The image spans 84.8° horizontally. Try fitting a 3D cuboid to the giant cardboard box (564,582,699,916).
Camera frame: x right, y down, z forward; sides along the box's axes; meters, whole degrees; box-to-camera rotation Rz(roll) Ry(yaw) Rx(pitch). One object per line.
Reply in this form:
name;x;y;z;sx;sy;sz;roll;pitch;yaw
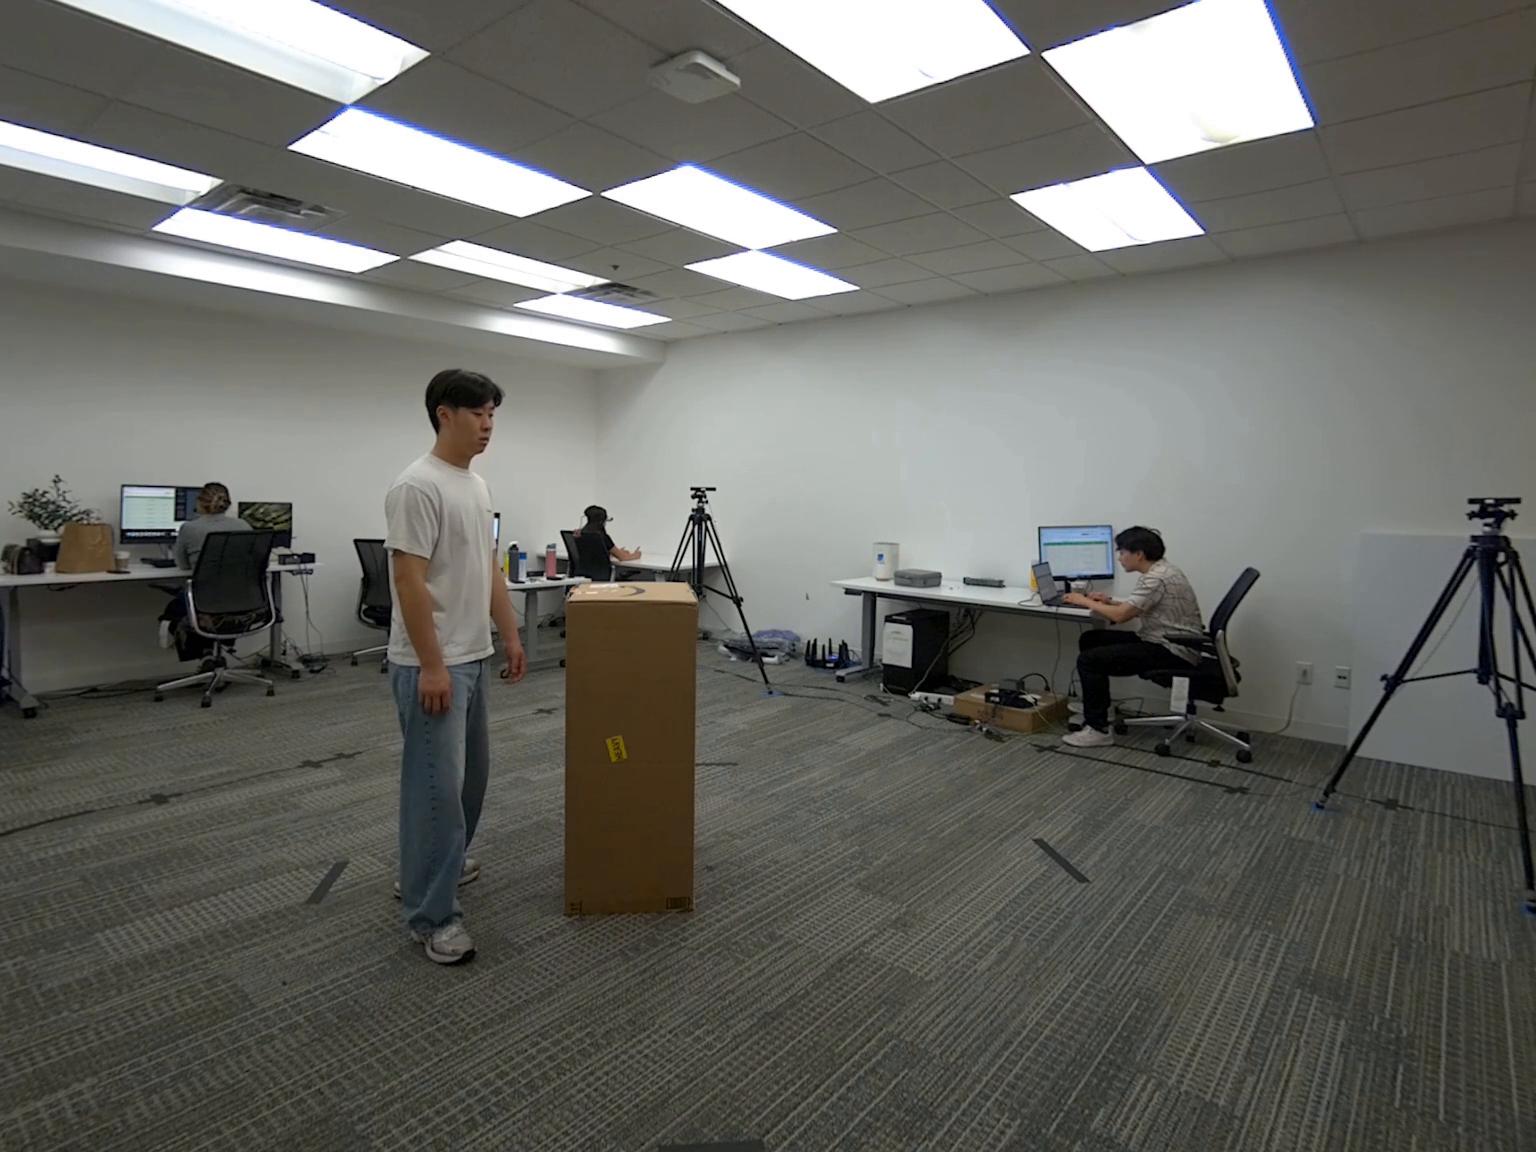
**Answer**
giant cardboard box;-0.498;0.560;3.030;0.423;1.023;0.584;0;3;-8
